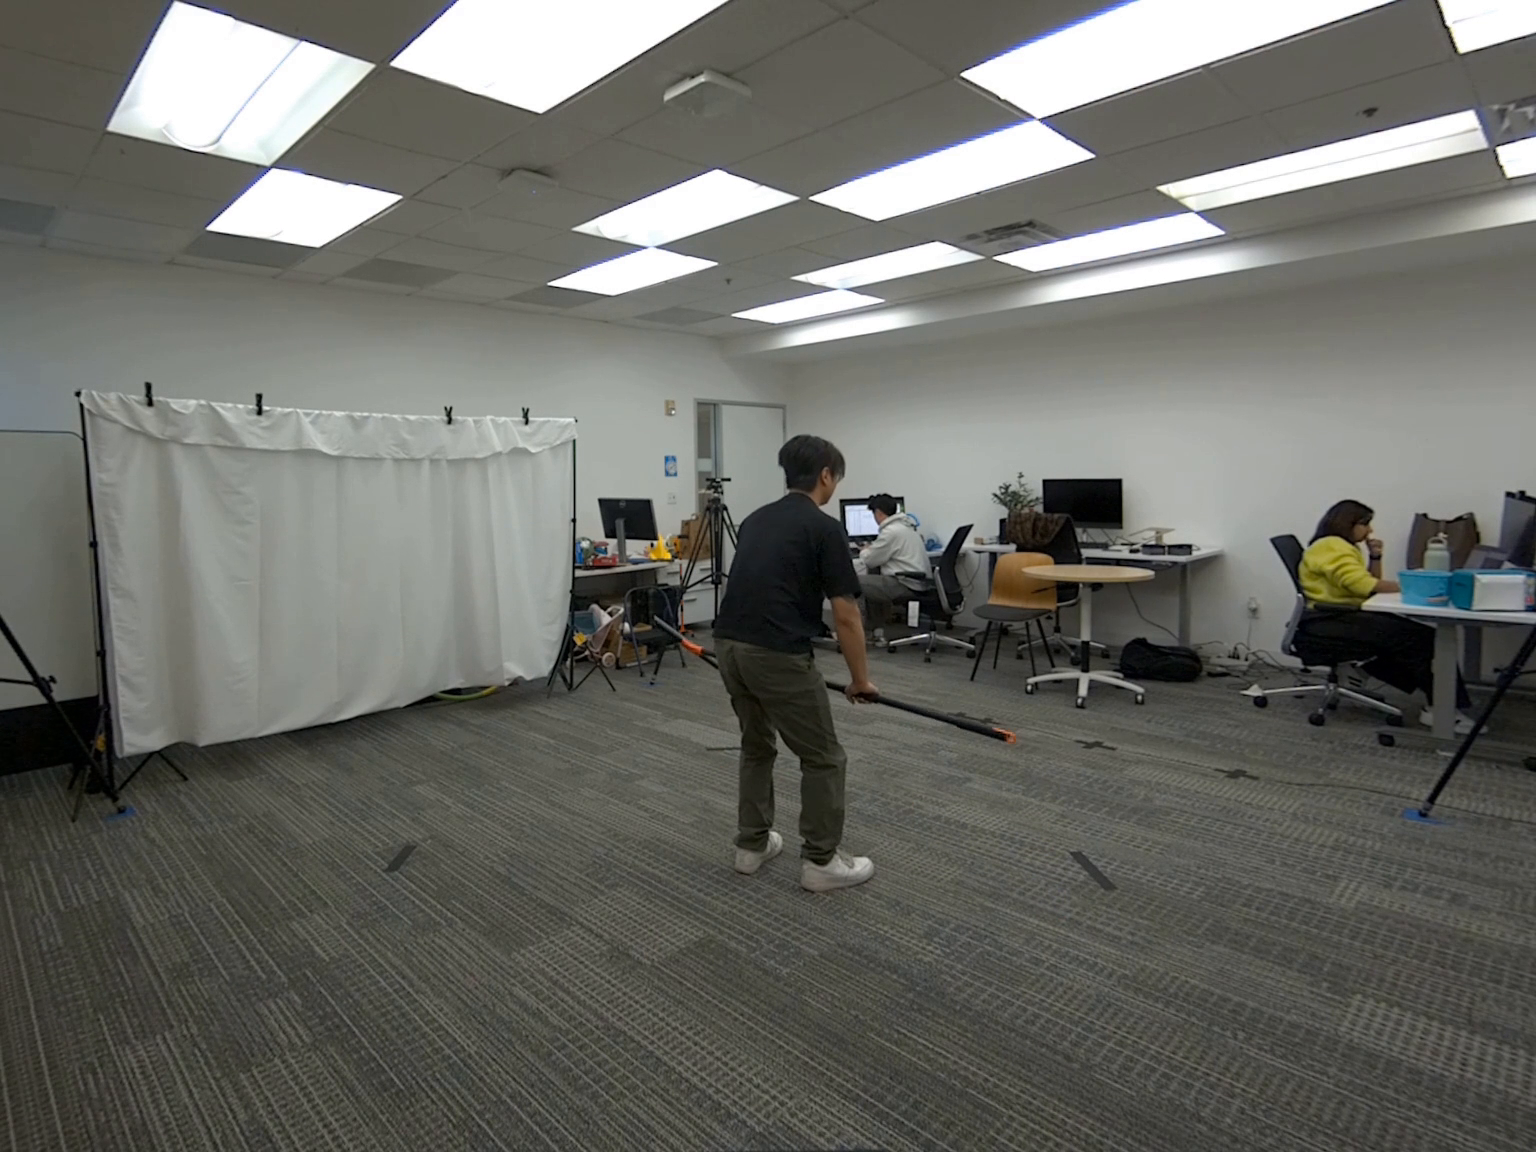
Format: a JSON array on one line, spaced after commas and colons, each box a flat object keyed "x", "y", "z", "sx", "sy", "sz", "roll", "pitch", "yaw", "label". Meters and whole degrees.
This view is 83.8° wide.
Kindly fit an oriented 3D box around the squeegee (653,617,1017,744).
[{"x": 0.189, "y": 0.385, "z": 3.078, "sx": 1.589, "sy": 0.053, "sz": 0.421, "roll": 11, "pitch": -23, "yaw": 46, "label": "squeegee"}]
